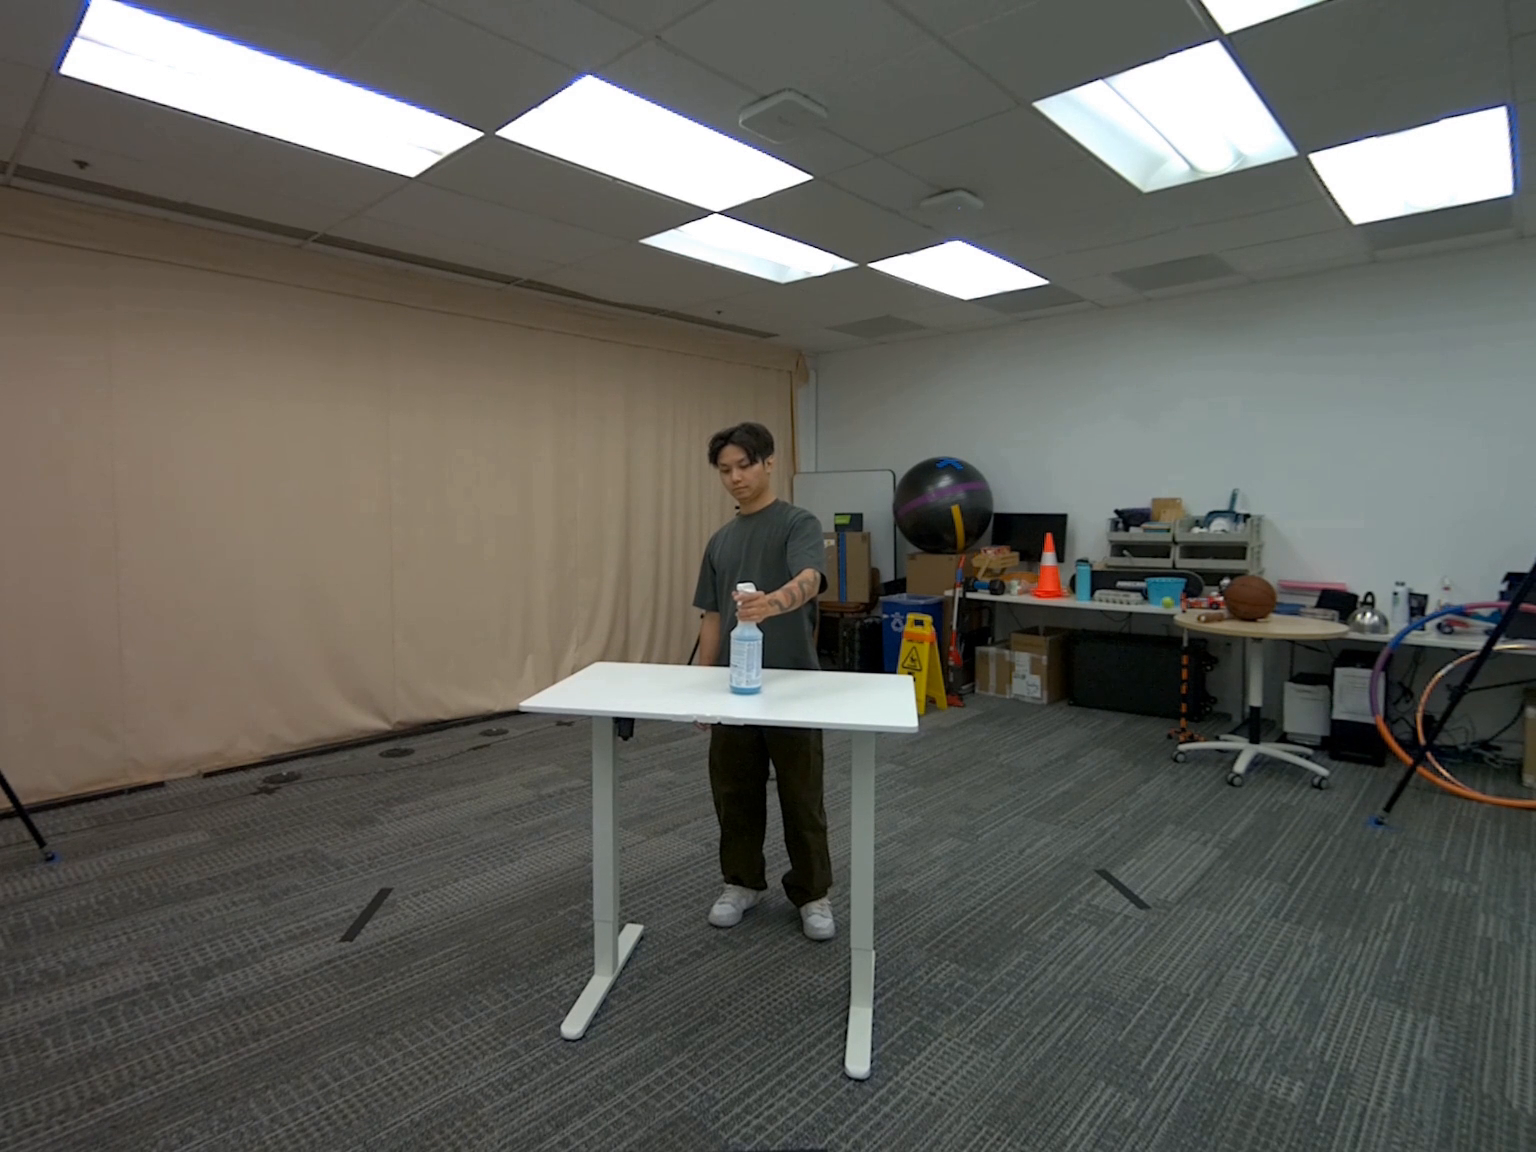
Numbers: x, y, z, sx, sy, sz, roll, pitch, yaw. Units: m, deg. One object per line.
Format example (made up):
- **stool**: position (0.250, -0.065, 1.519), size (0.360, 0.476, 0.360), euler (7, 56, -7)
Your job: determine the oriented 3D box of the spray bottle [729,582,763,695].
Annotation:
- **spray bottle**: position (-0.060, 0.169, 2.302), size (0.087, 0.296, 0.090), euler (-3, 6, -37)
